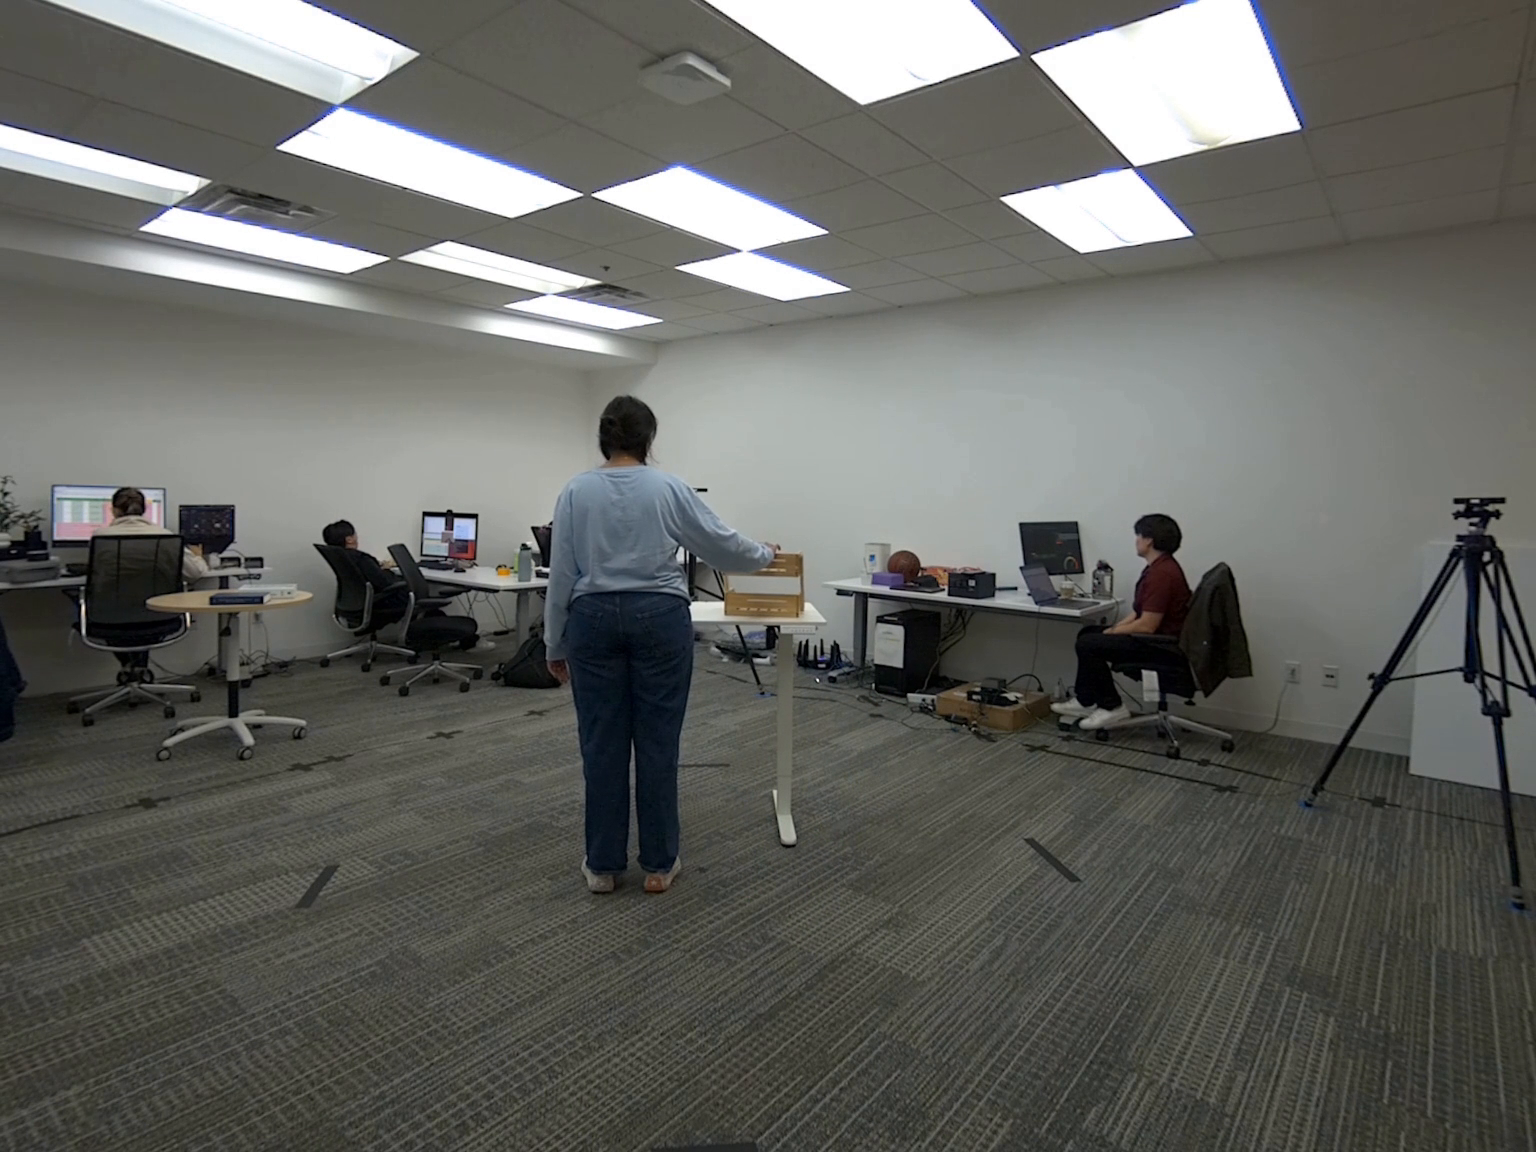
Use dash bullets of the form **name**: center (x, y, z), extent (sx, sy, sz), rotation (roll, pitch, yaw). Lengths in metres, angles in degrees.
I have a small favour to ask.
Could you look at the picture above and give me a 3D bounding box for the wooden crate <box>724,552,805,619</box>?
- **wooden crate**: center (-0.027, 0.019, 3.503), extent (0.327, 0.272, 0.301), rotation (1, 4, 6)
